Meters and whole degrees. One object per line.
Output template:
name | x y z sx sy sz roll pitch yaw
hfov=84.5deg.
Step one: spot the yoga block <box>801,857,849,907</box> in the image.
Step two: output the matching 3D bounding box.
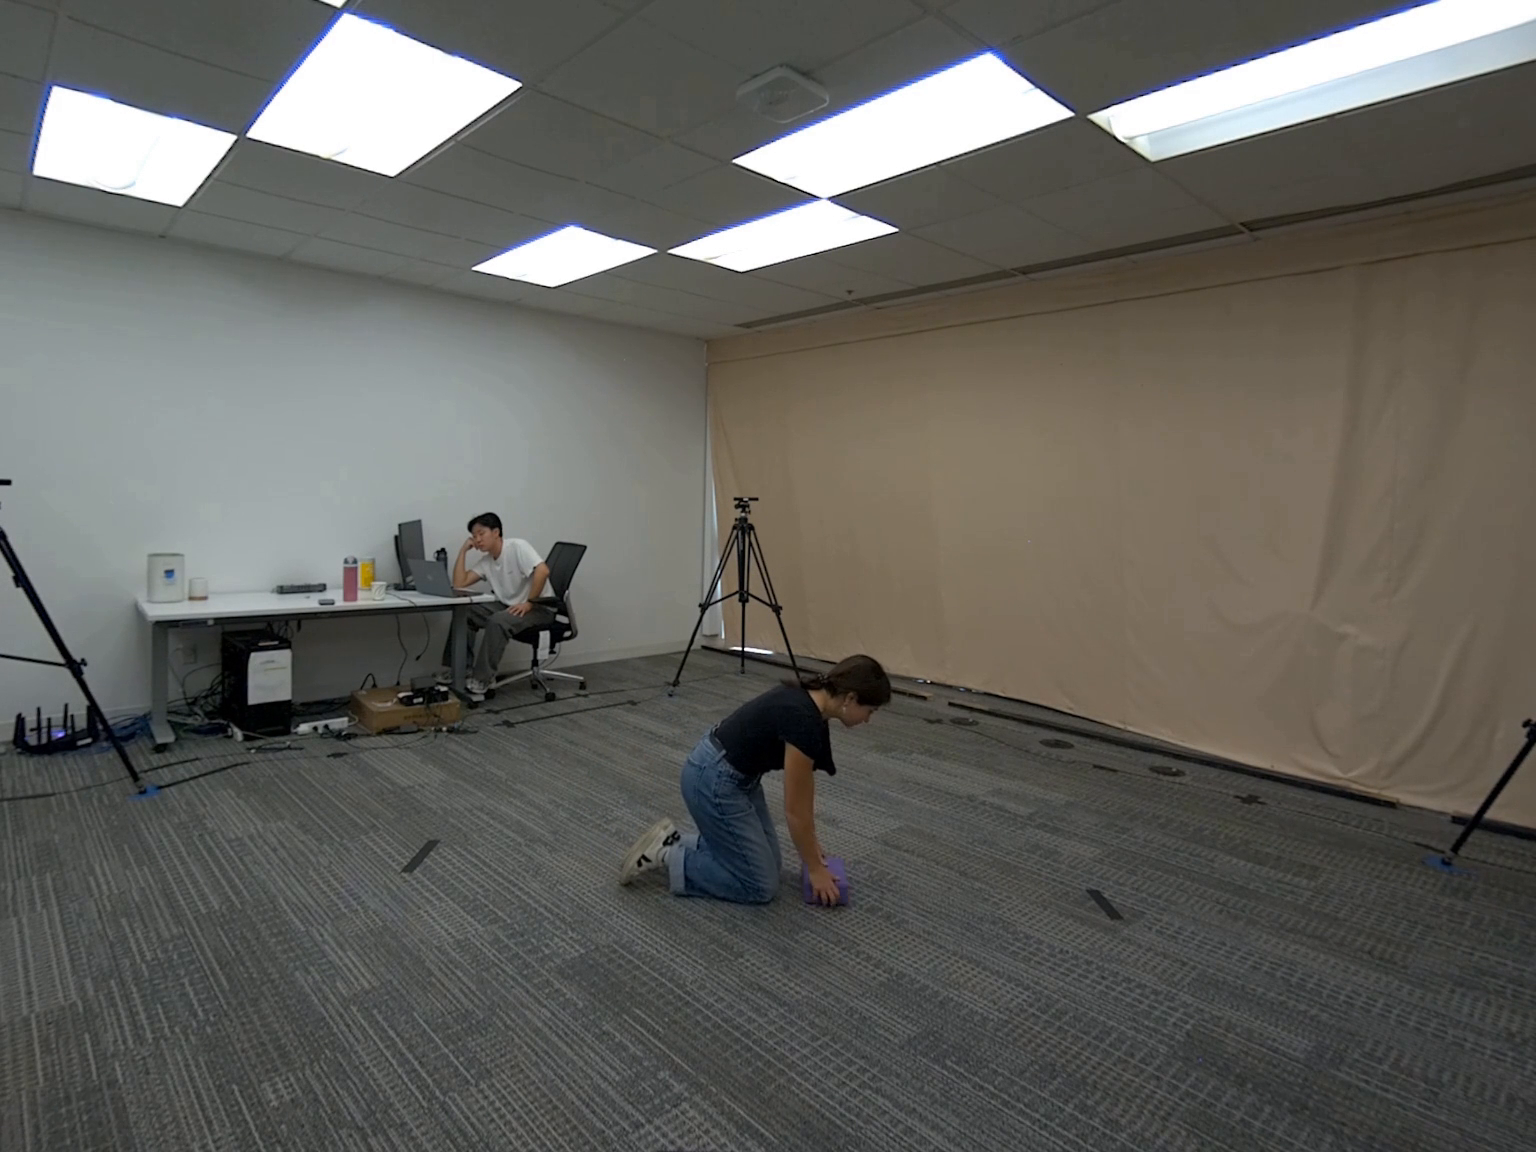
yoga block | 0.198 1.084 2.993 0.149 0.076 0.230 2 6 1
